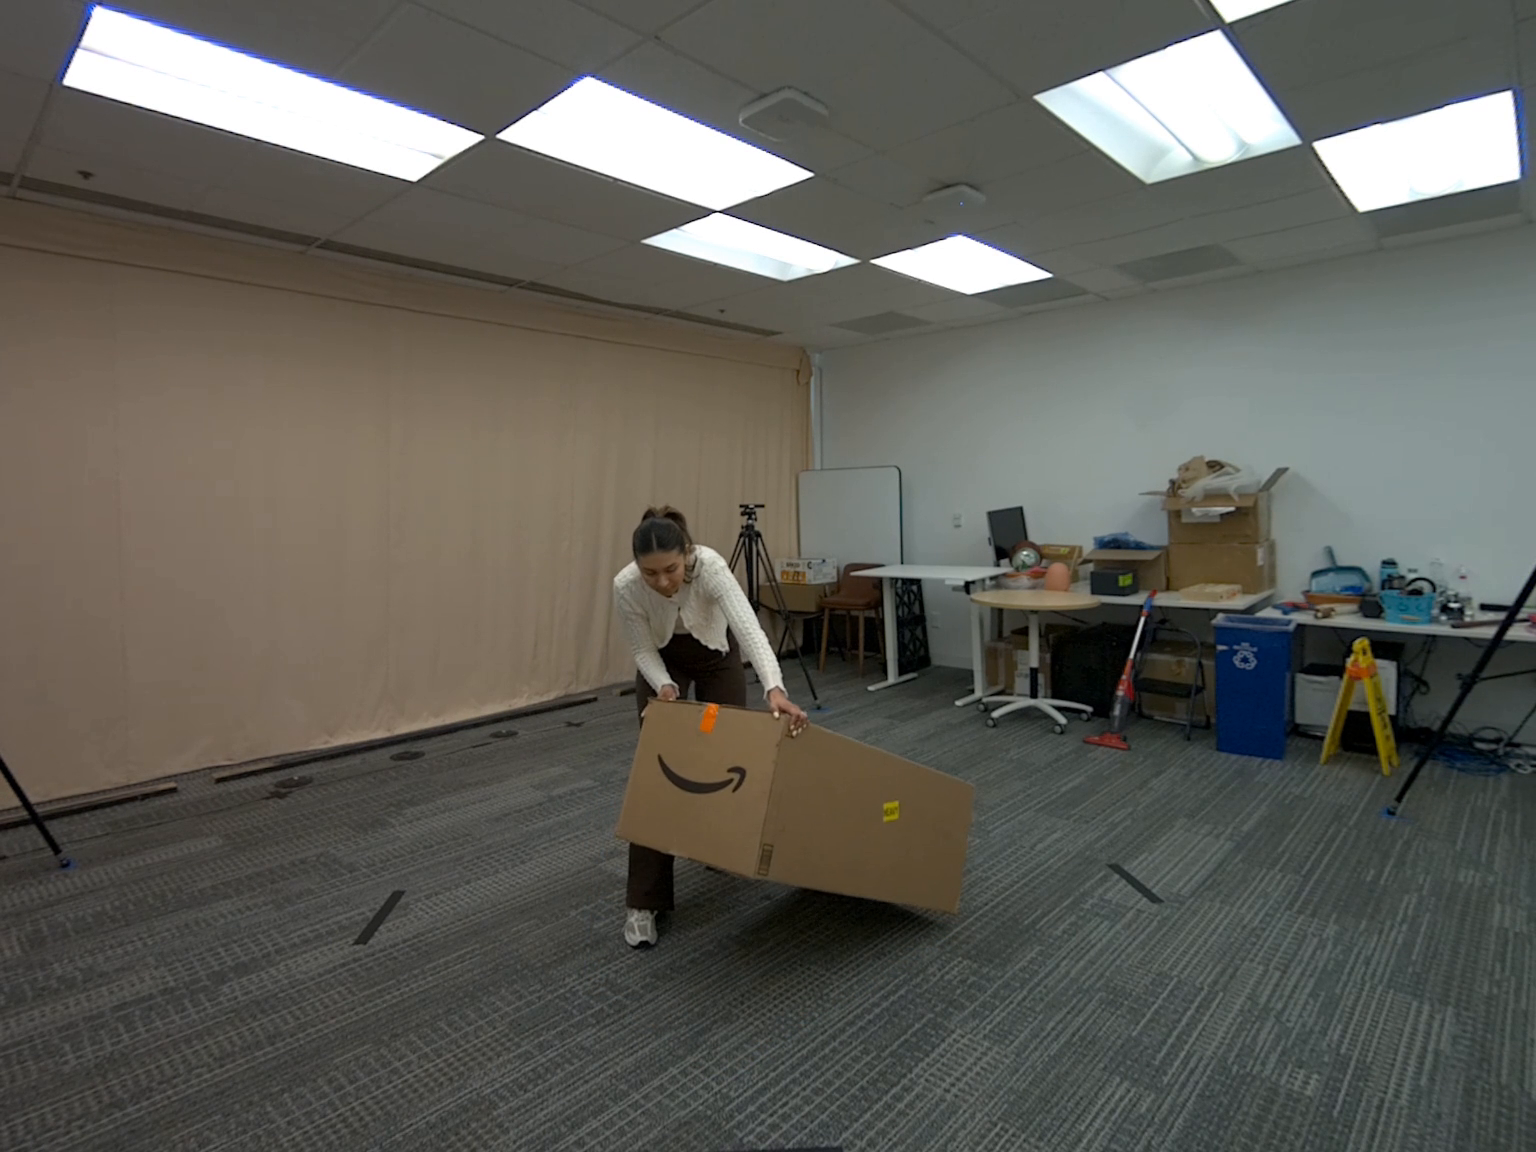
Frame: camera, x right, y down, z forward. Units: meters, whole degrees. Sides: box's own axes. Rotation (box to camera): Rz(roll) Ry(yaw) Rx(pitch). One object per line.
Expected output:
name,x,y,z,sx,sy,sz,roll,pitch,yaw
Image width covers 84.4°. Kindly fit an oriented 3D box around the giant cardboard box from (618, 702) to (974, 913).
giant cardboard box,0.133,0.749,2.699,0.595,0.429,0.989,-3,-23,44
